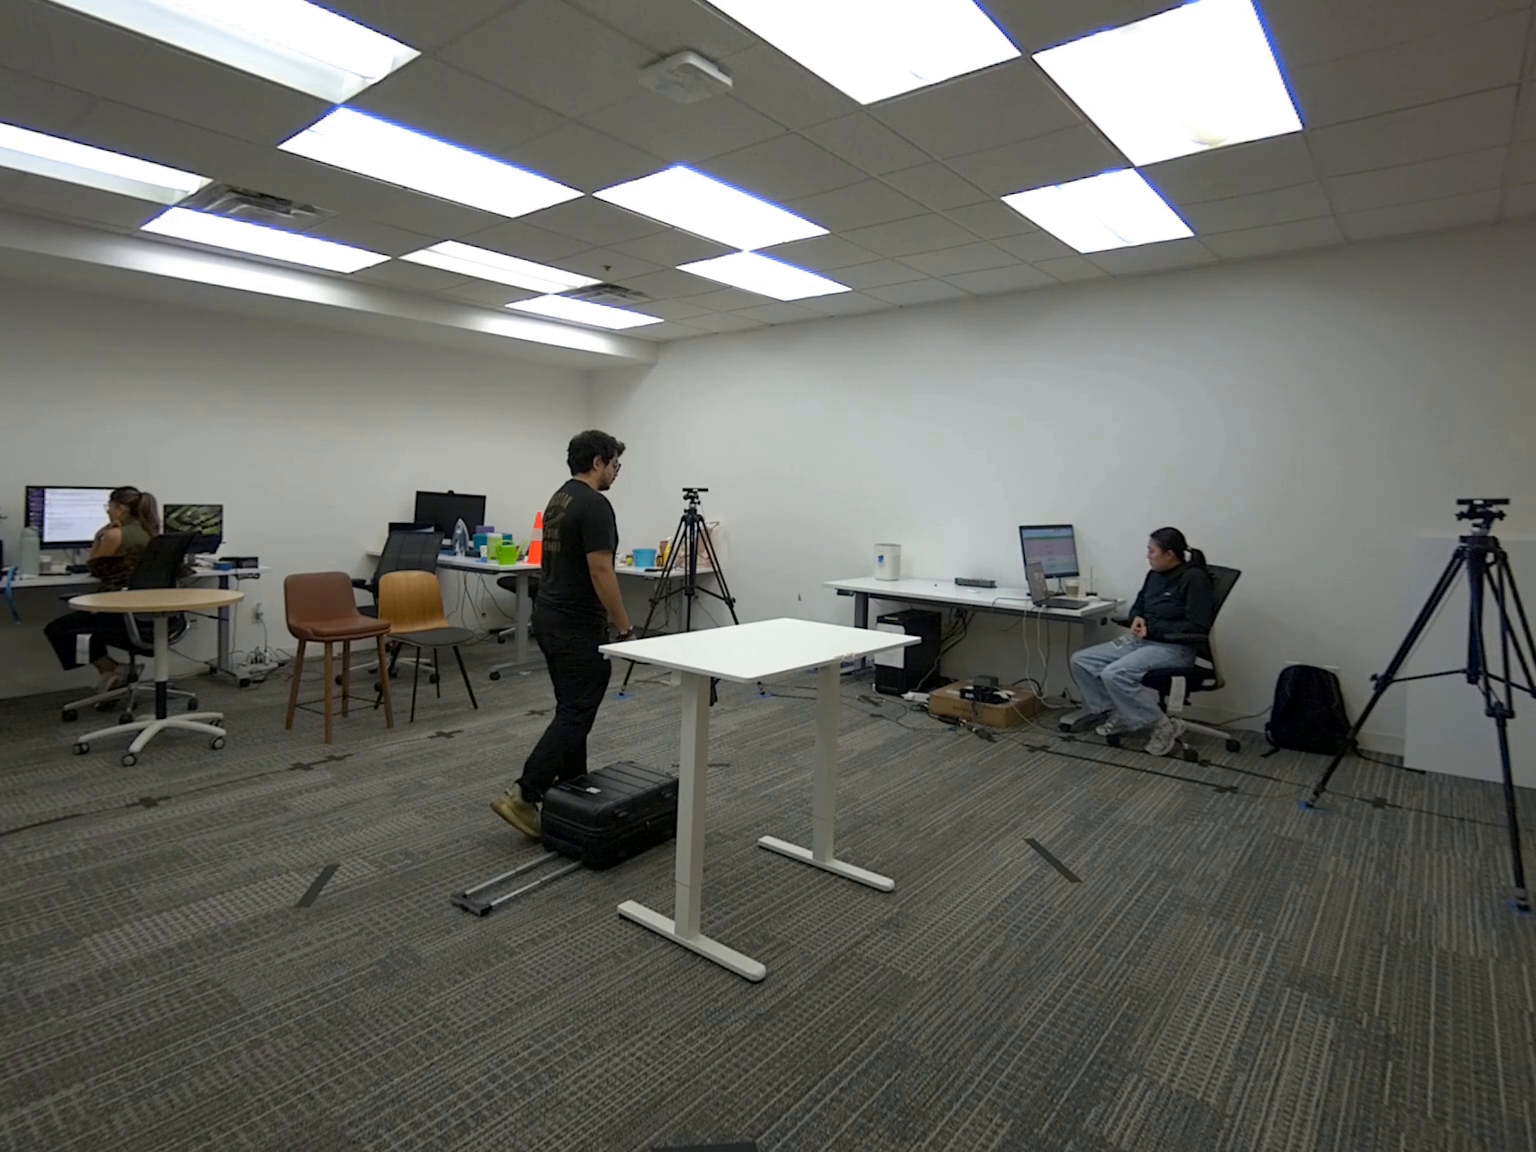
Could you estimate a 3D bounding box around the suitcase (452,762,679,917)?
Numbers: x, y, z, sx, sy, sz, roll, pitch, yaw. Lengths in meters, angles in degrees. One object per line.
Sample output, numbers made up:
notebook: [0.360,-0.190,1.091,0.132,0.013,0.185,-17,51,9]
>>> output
suitcase: [-0.725,0.931,3.164,0.396,0.256,0.950,6,6,34]
